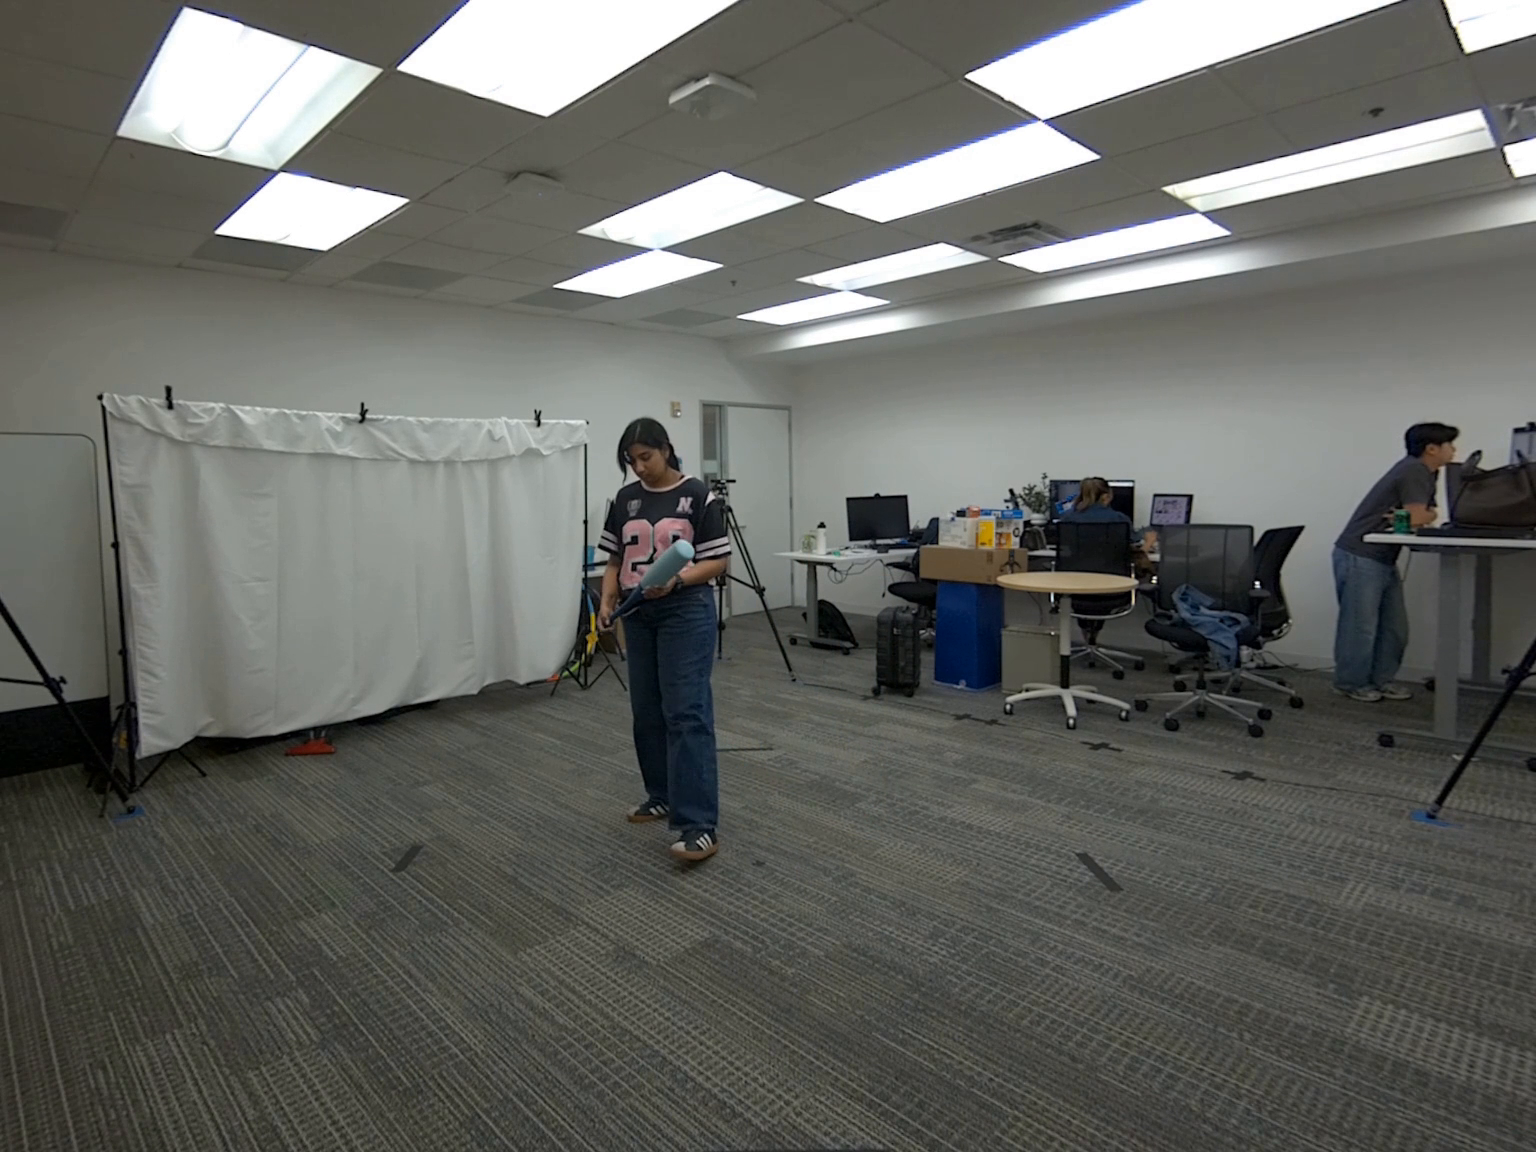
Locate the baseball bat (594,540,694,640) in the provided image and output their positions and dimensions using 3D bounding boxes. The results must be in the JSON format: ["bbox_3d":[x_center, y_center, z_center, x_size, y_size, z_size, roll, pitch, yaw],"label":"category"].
[{"bbox_3d":[-0.458,0.052,3.141,0.087,0.091,0.544,-6,-29,-47],"label":"baseball bat"}]
